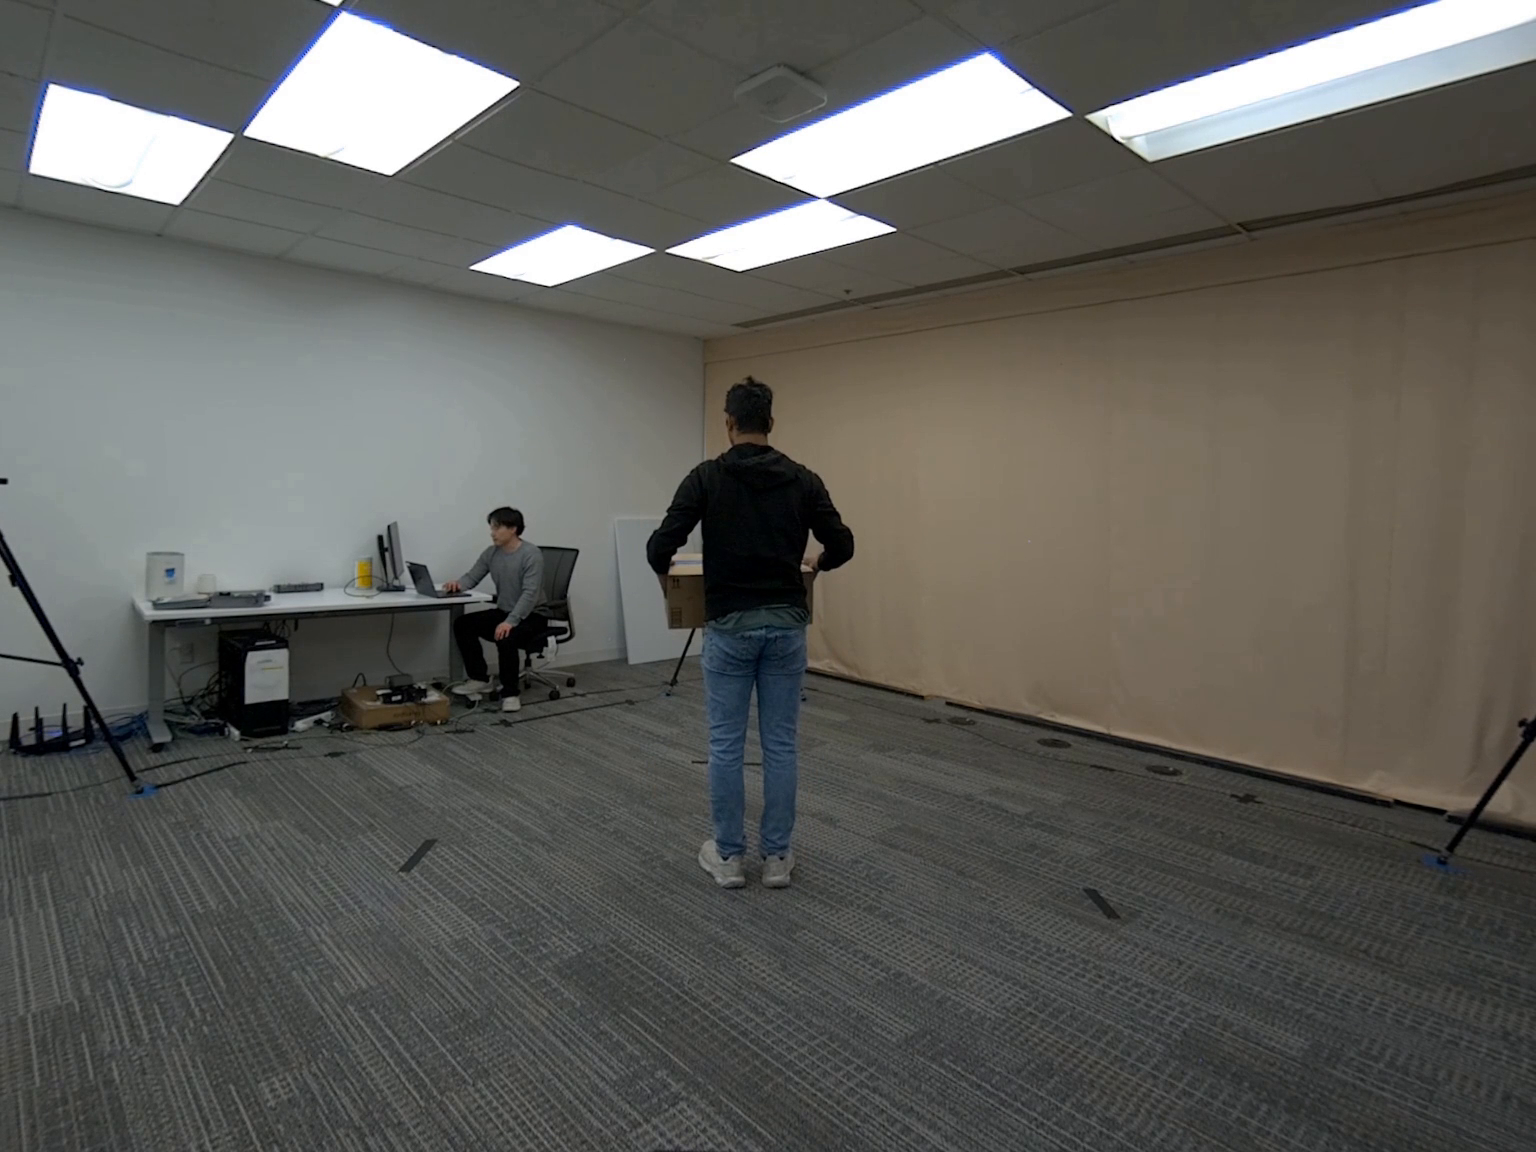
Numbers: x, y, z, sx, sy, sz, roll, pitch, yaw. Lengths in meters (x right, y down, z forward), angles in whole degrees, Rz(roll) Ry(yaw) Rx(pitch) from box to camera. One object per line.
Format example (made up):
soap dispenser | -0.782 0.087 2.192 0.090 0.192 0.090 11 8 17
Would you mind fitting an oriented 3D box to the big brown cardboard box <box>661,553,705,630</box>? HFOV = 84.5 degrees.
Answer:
big brown cardboard box | -0.135 0.054 3.425 0.585 0.231 0.423 -2 10 -8
